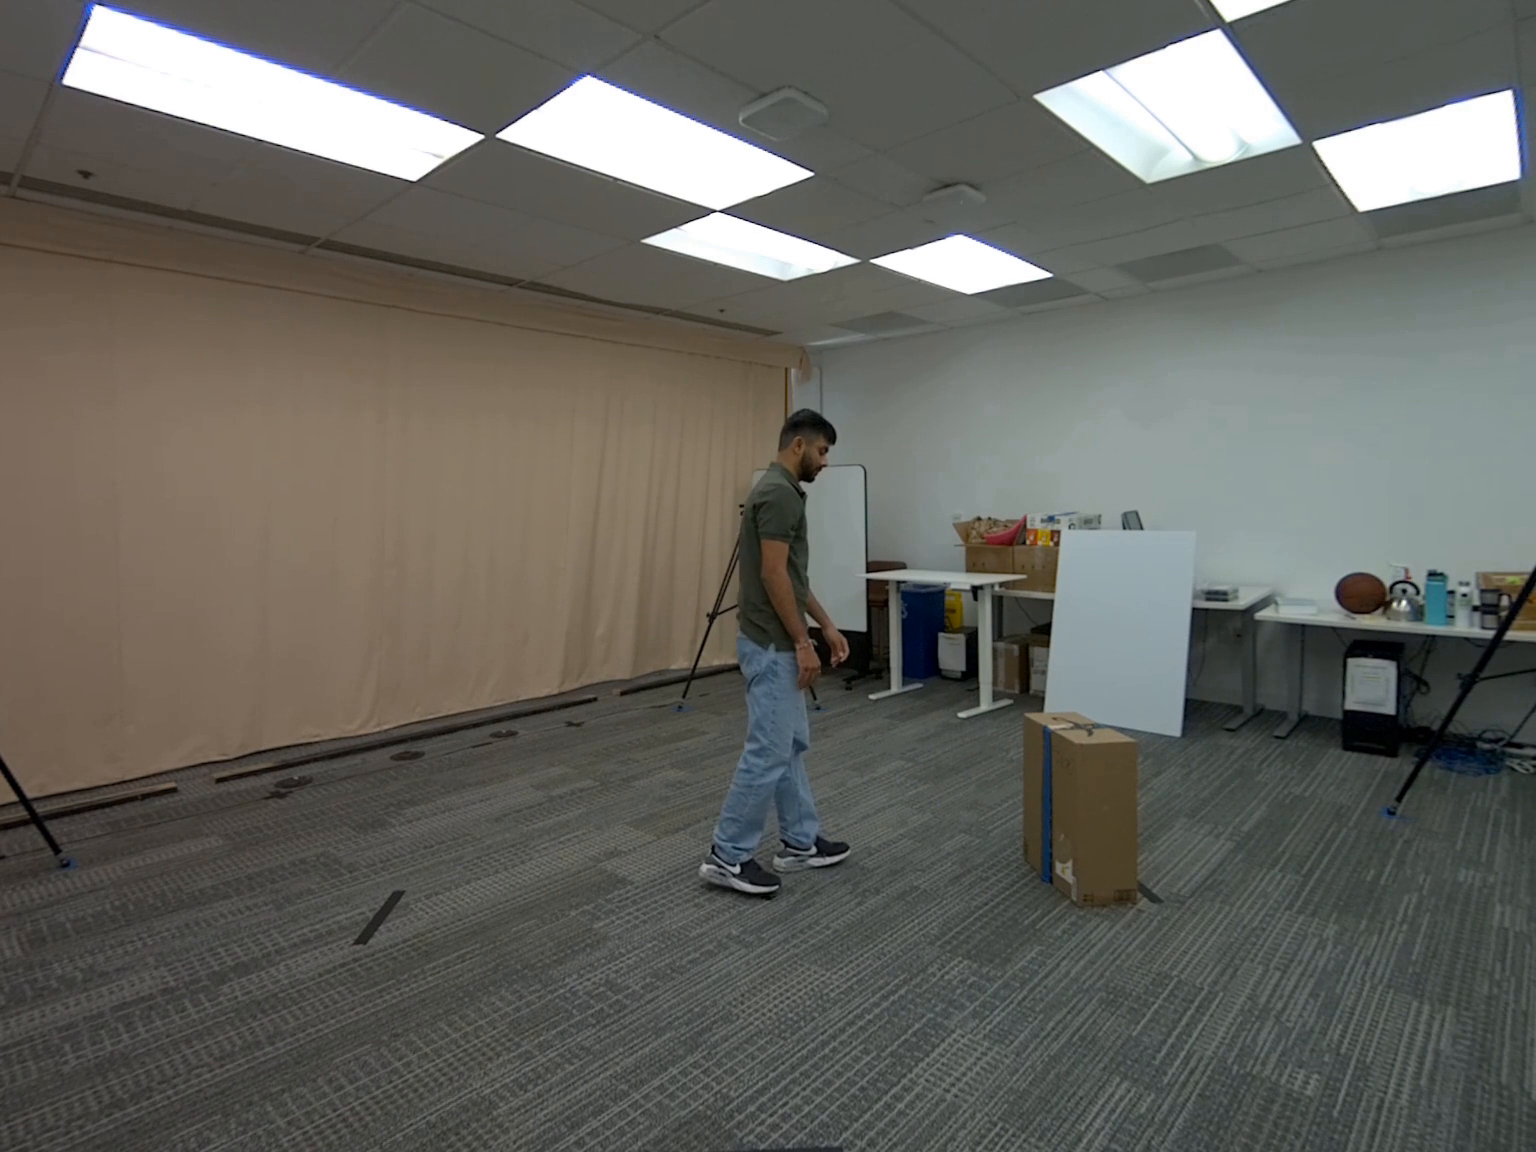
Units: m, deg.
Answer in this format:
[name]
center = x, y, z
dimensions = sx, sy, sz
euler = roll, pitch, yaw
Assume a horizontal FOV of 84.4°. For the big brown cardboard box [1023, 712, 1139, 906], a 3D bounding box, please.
[big brown cardboard box]
center = 1.134, 0.836, 3.068
dimensions = 0.231, 0.588, 0.421
euler = 0, 2, -8
